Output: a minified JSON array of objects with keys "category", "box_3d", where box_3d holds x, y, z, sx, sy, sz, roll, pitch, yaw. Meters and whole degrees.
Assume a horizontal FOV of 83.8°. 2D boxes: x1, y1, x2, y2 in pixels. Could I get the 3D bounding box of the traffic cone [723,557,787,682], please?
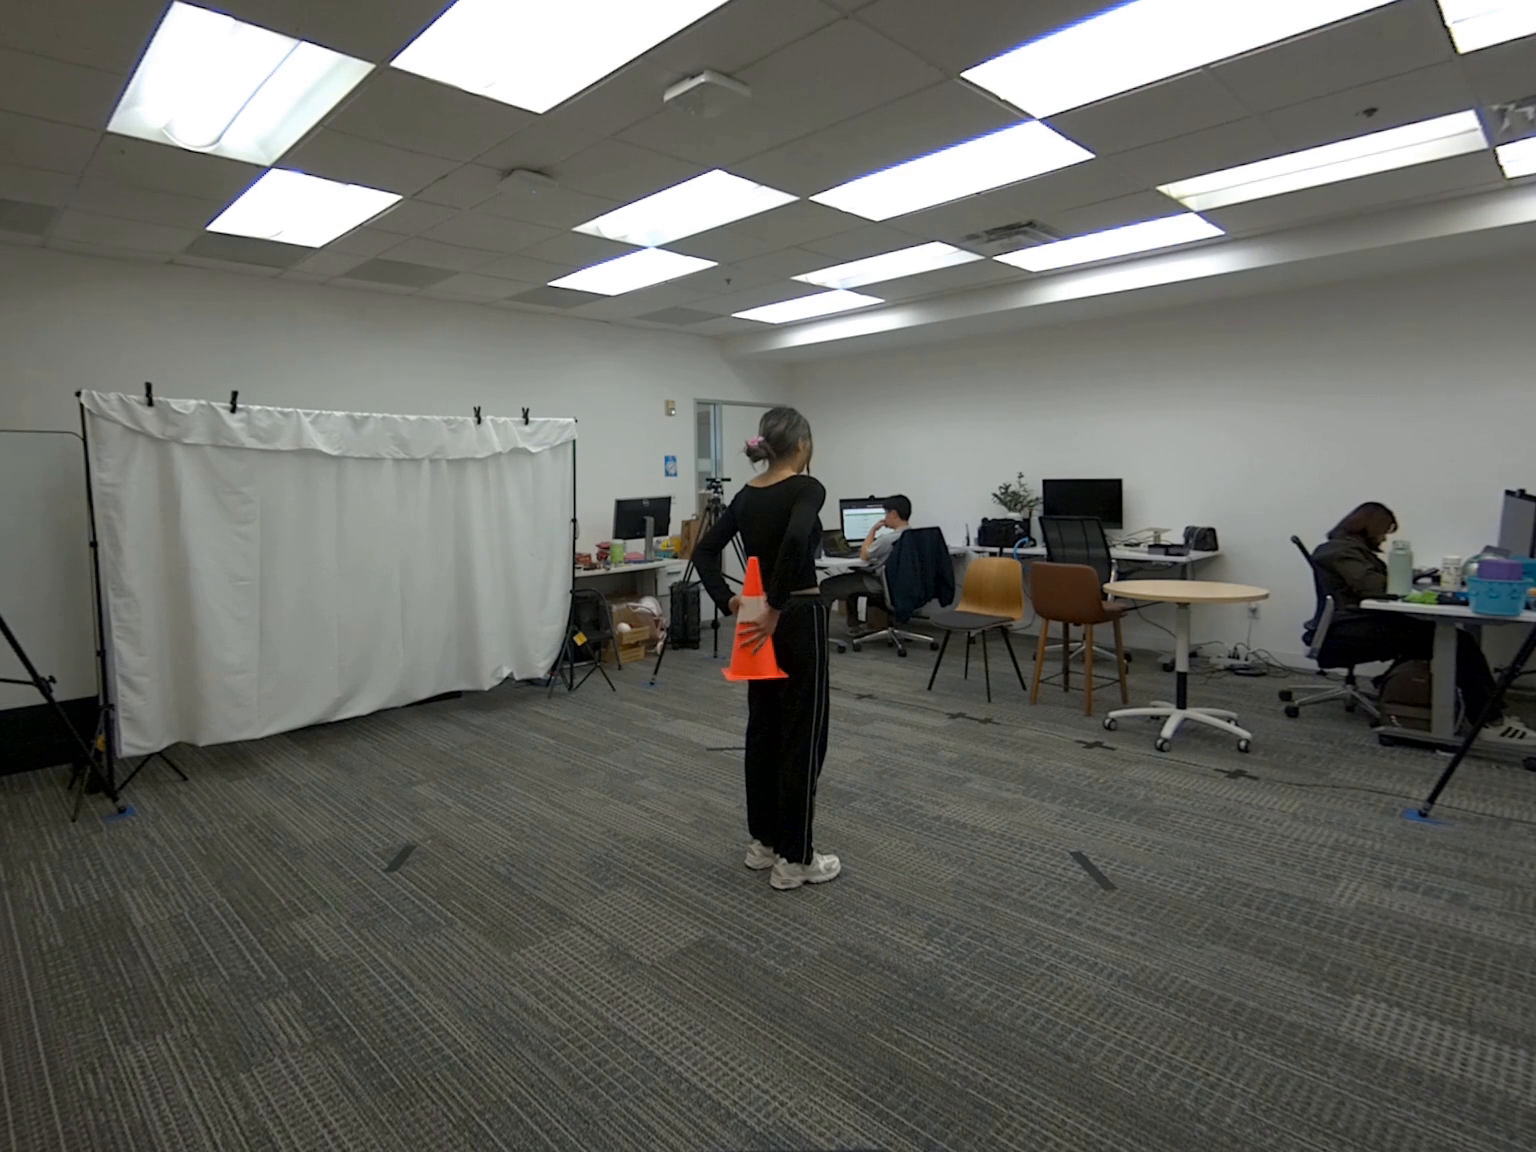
[{"category":"traffic cone","box_3d":[-0.051,0.133,2.801,0.202,0.382,0.207,-3,4,-6]}]
